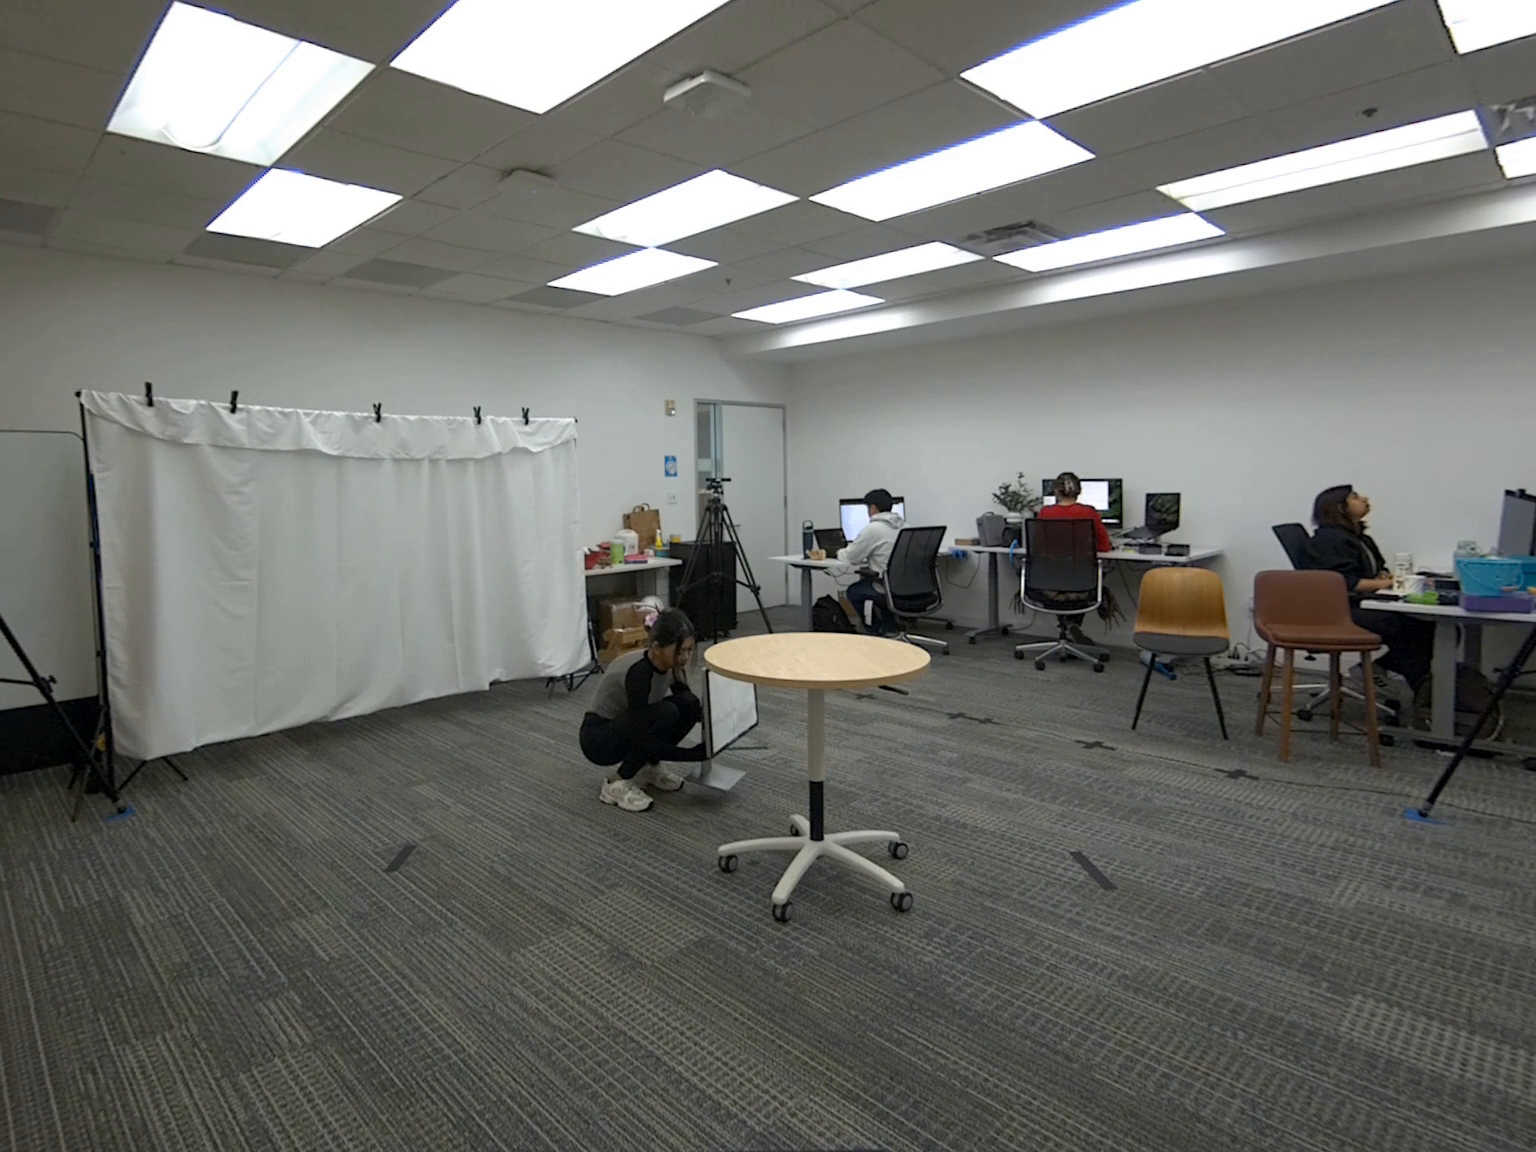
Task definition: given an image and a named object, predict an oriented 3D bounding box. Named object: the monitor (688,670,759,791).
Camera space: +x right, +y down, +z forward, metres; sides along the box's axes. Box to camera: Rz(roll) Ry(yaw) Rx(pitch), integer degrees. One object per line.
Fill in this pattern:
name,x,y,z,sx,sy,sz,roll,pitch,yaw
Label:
monitor,-0.205,0.615,3.710,0.191,0.520,0.531,8,6,16
